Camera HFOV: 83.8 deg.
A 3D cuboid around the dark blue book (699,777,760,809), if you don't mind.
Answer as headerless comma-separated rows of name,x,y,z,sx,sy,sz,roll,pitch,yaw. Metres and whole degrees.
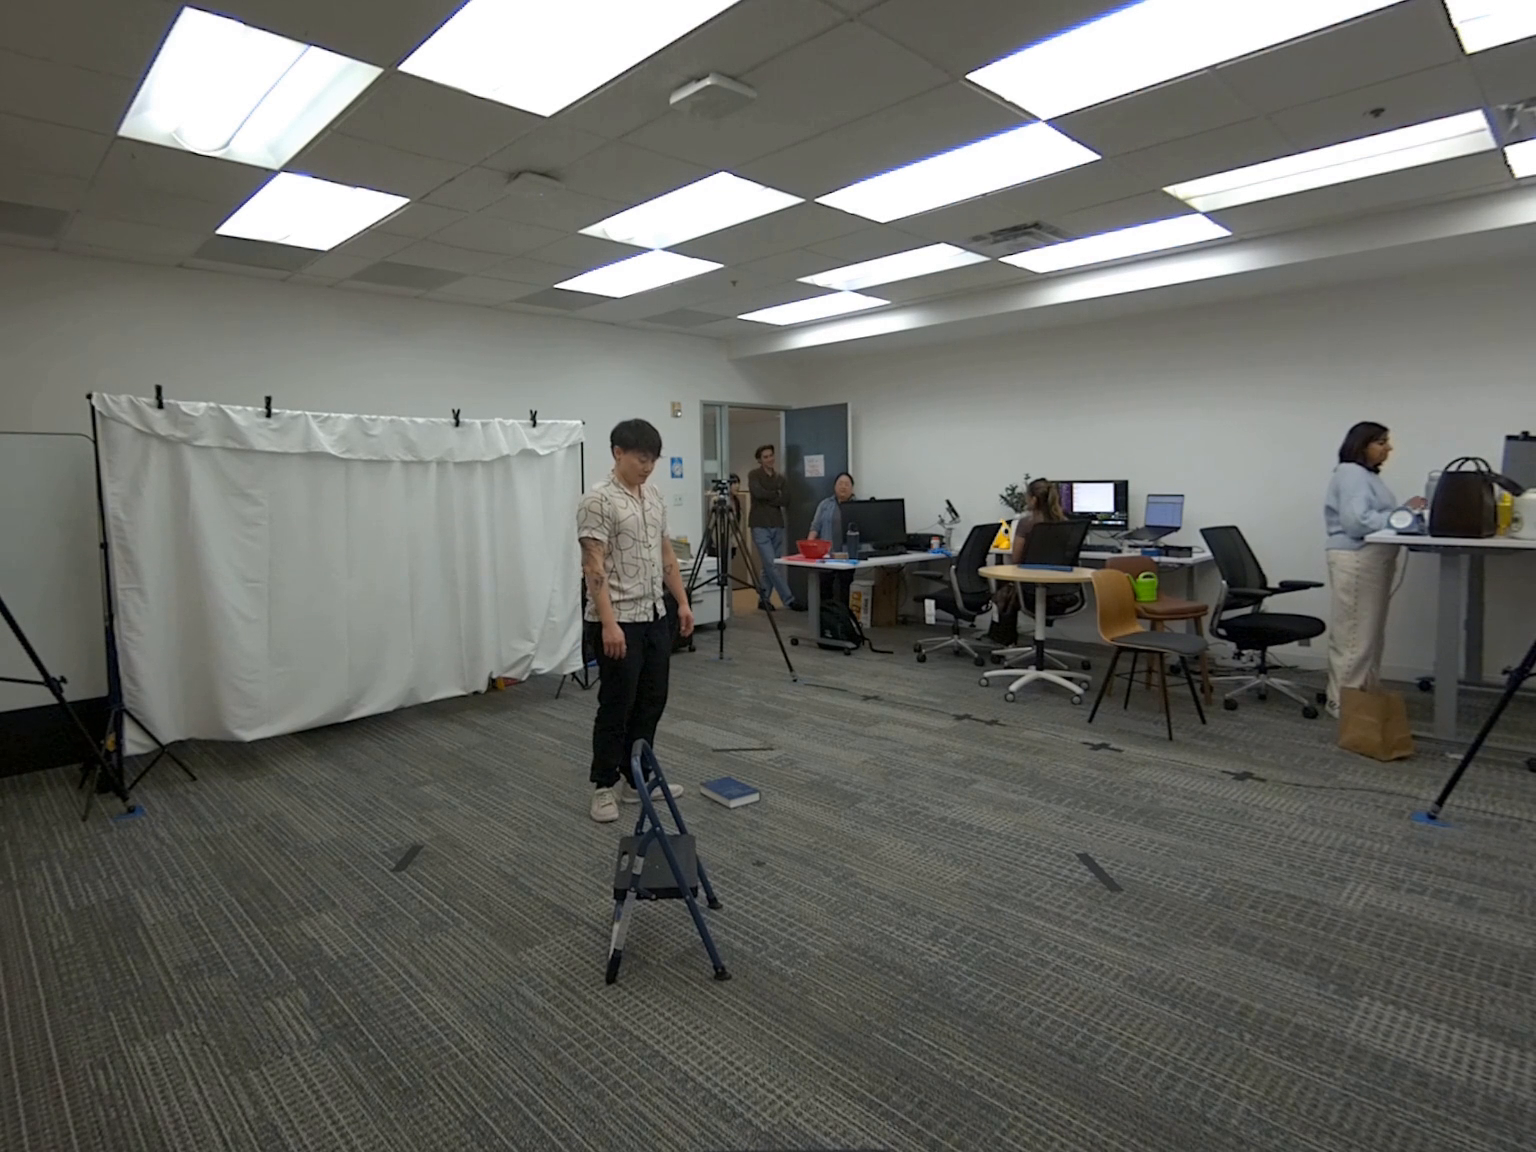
dark blue book,-0.174,0.951,3.768,0.159,0.045,0.252,-5,8,-36
